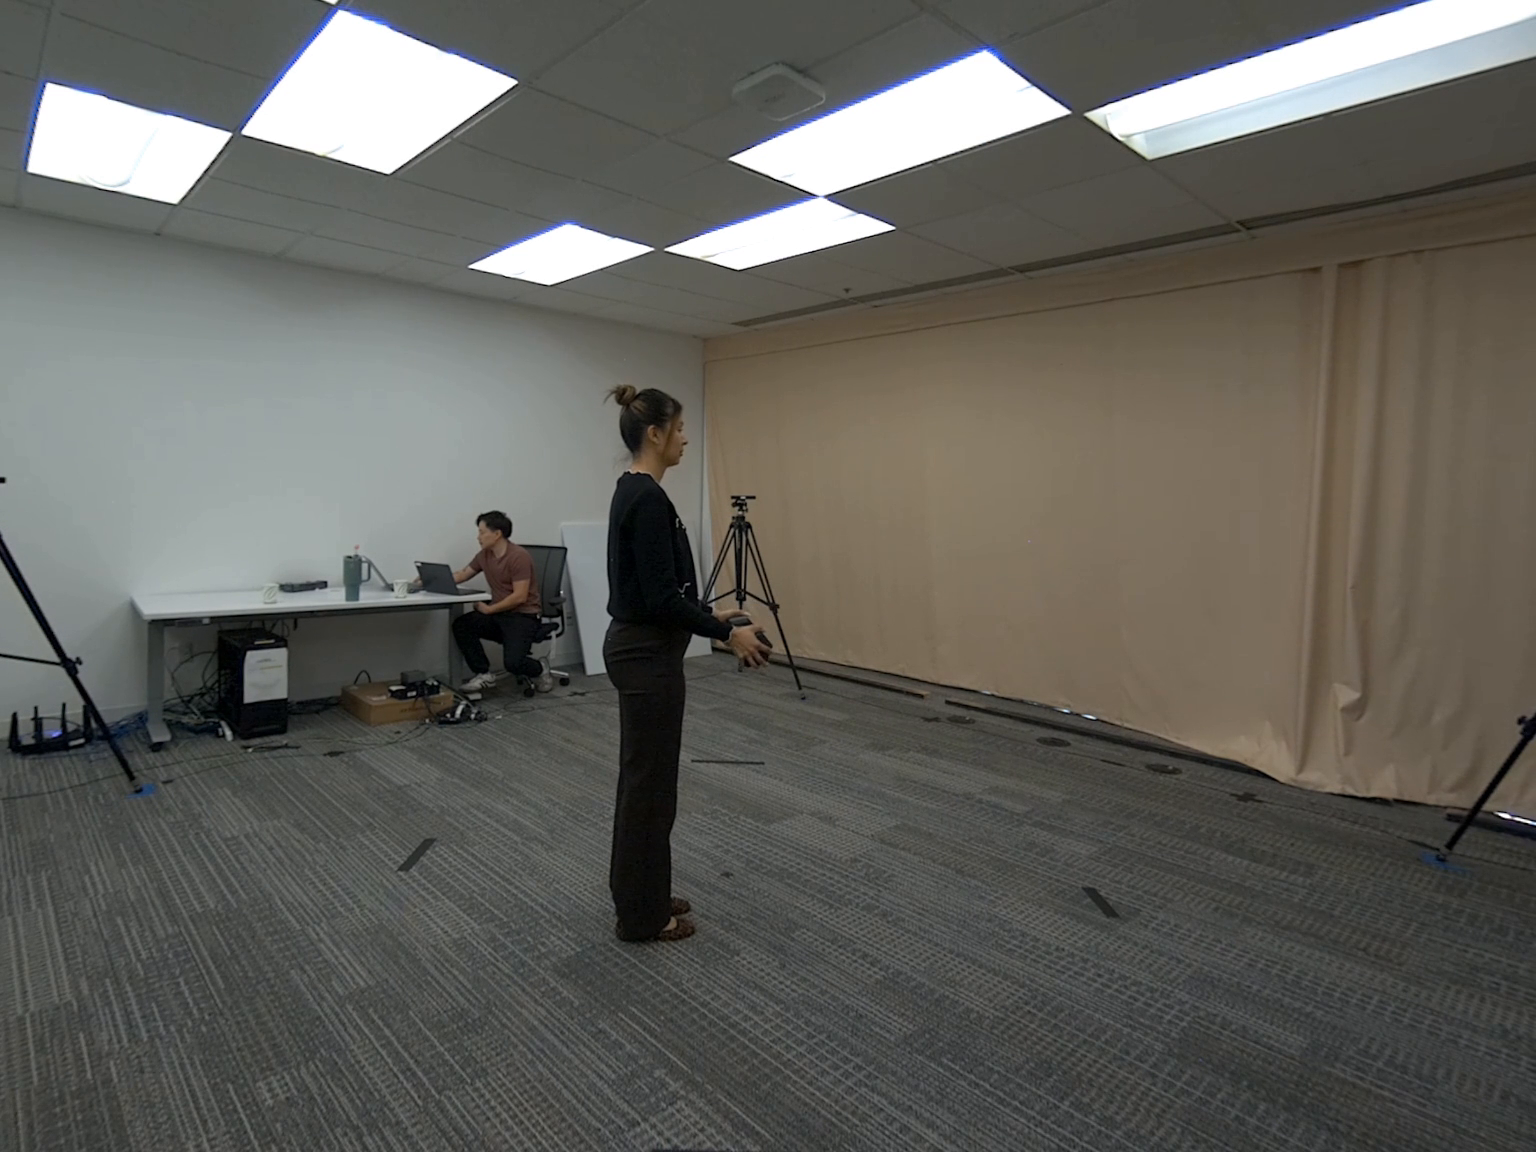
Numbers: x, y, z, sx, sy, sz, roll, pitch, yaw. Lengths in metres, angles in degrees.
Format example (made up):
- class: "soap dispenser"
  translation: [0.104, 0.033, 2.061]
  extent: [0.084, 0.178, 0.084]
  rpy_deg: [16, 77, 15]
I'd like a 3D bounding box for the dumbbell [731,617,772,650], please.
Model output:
- class: "dumbbell"
  translation: [-0.076, 0.201, 2.713]
  extent: [0.108, 0.122, 0.297]
  rpy_deg: [-36, 11, -6]
